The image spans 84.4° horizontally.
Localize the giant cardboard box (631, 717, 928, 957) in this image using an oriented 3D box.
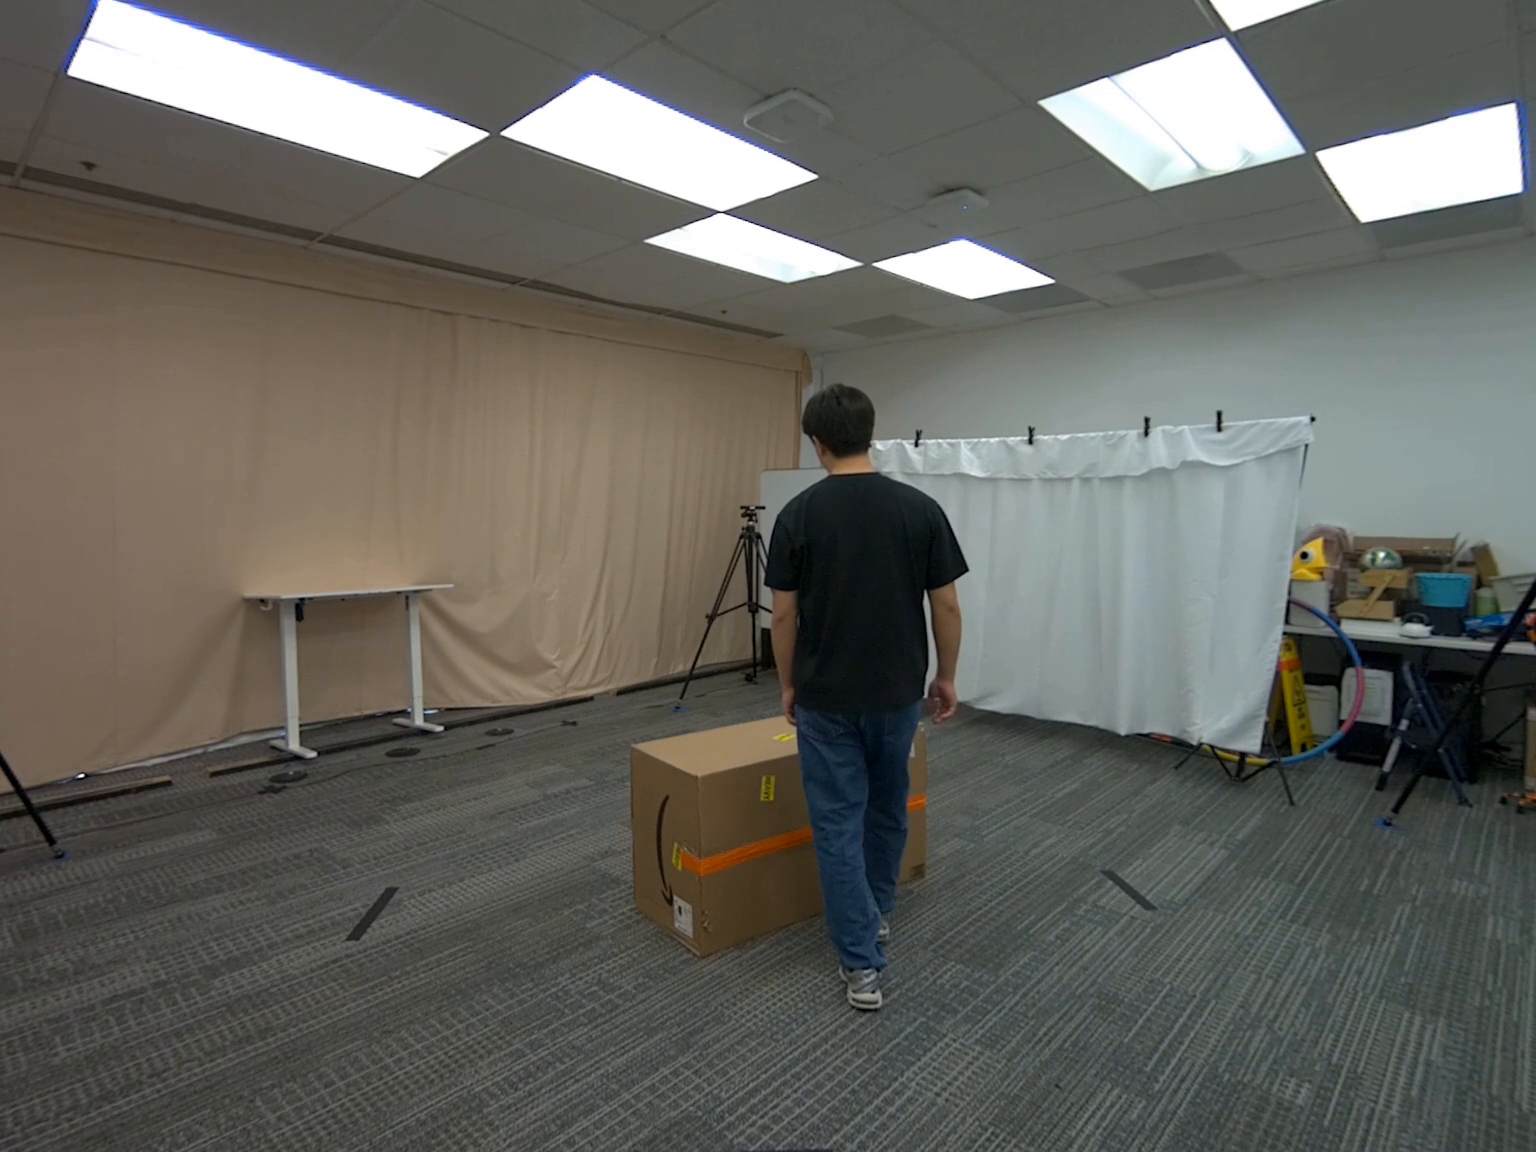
[{"bbox_3d":[0.063,0.854,3.034,0.997,0.582,0.461,-4,6,-36],"label":"giant cardboard box"}]
